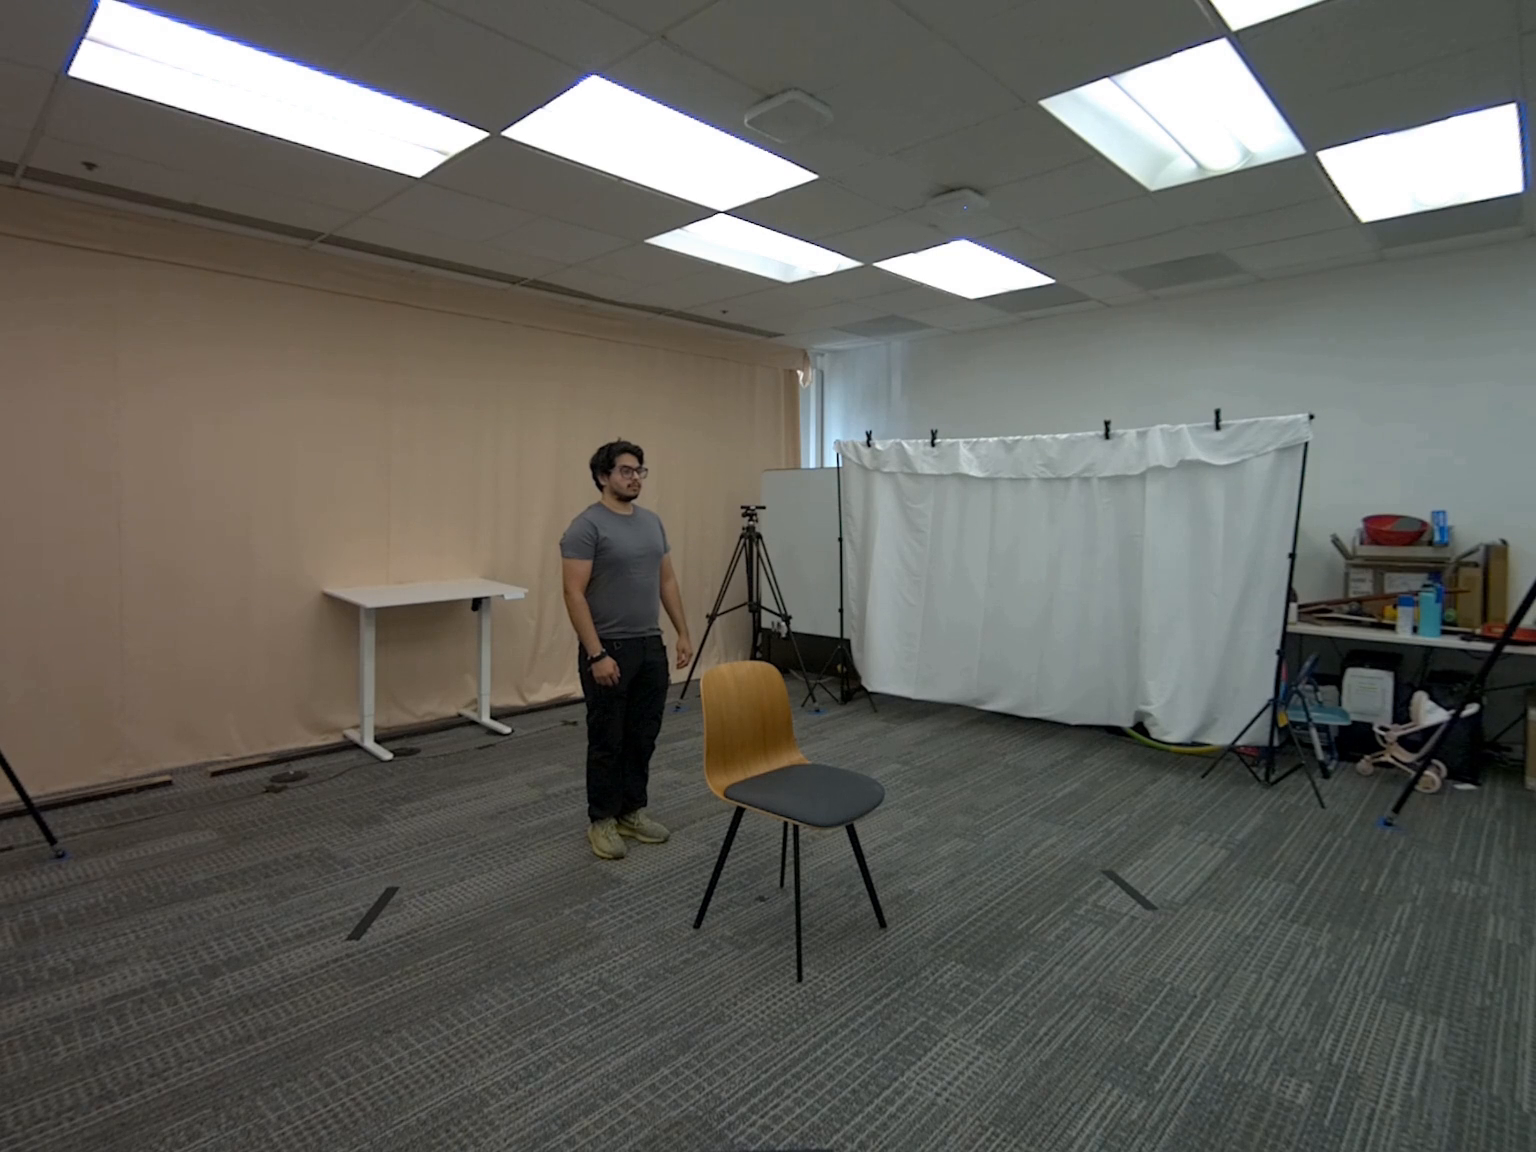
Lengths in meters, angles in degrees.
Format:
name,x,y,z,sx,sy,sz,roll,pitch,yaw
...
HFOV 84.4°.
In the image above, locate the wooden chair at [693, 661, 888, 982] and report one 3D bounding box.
name,x,y,z,sx,sy,sz,roll,pitch,yaw
wooden chair,0.083,0.736,2.739,0.539,0.877,0.463,-3,0,43
